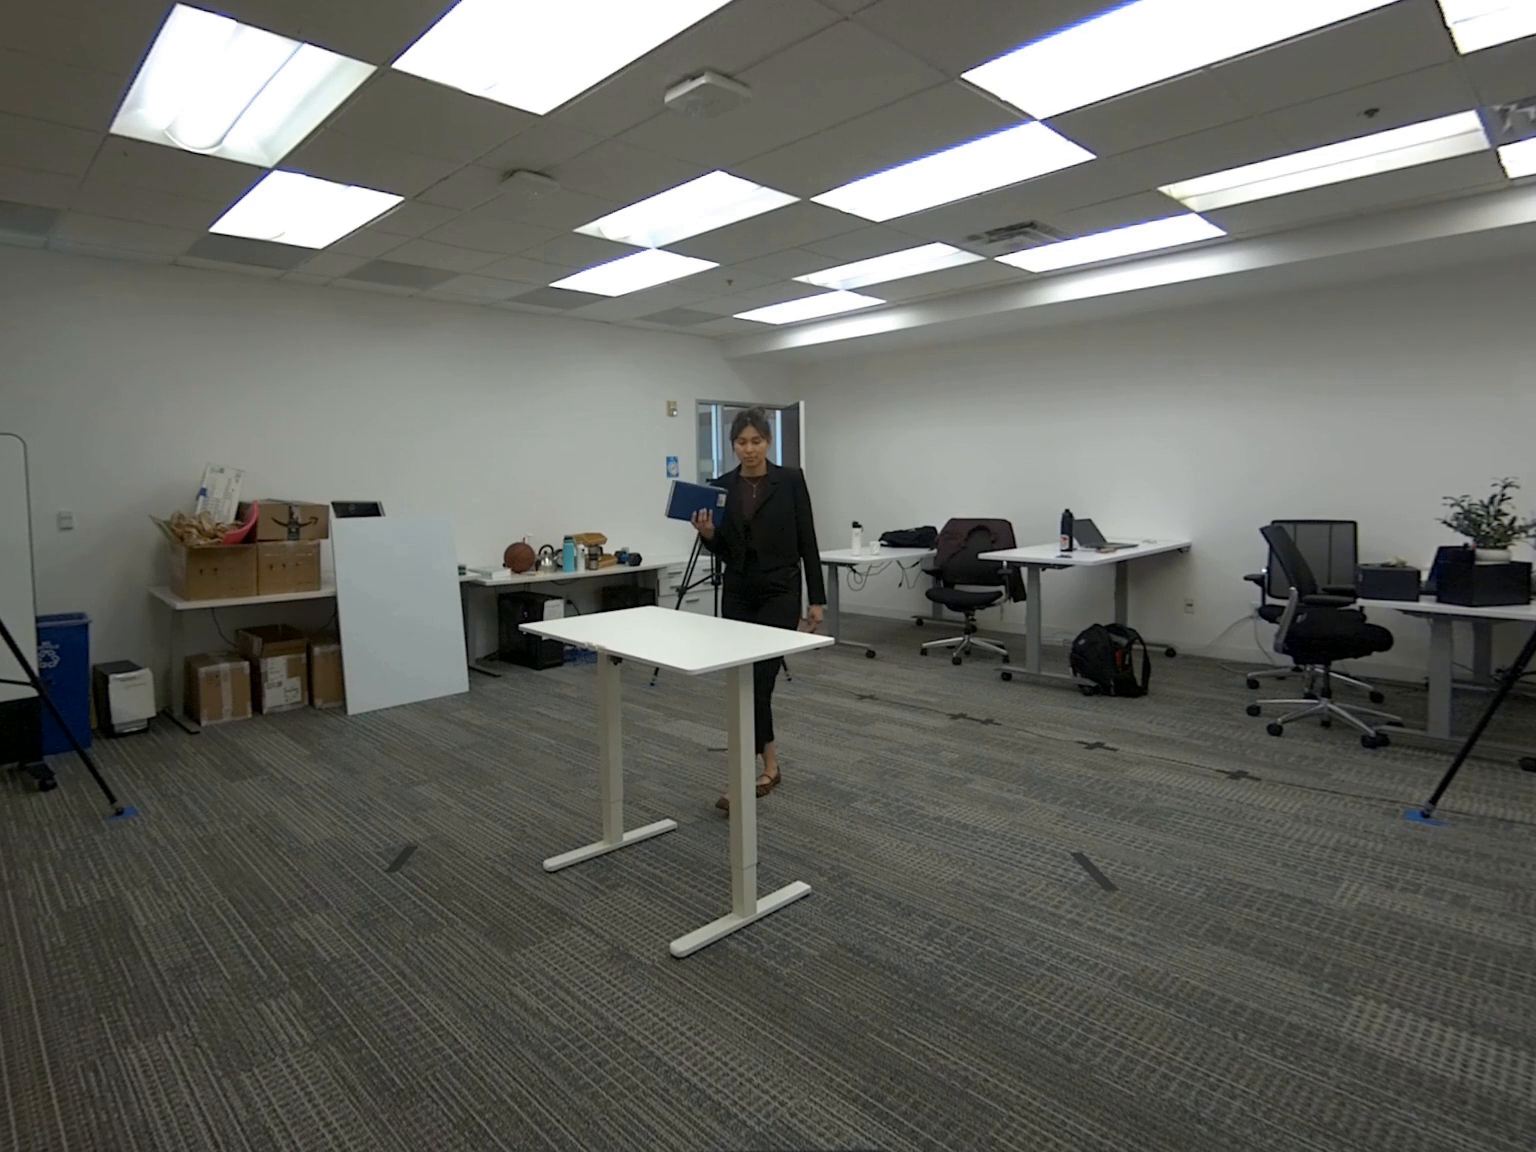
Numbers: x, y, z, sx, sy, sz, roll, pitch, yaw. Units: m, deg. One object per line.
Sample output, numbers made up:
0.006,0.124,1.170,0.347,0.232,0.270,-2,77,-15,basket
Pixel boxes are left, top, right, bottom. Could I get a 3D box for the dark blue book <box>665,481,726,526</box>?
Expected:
-0.305,-0.315,3.659,0.240,0.162,0.046,8,15,-21,dark blue book
